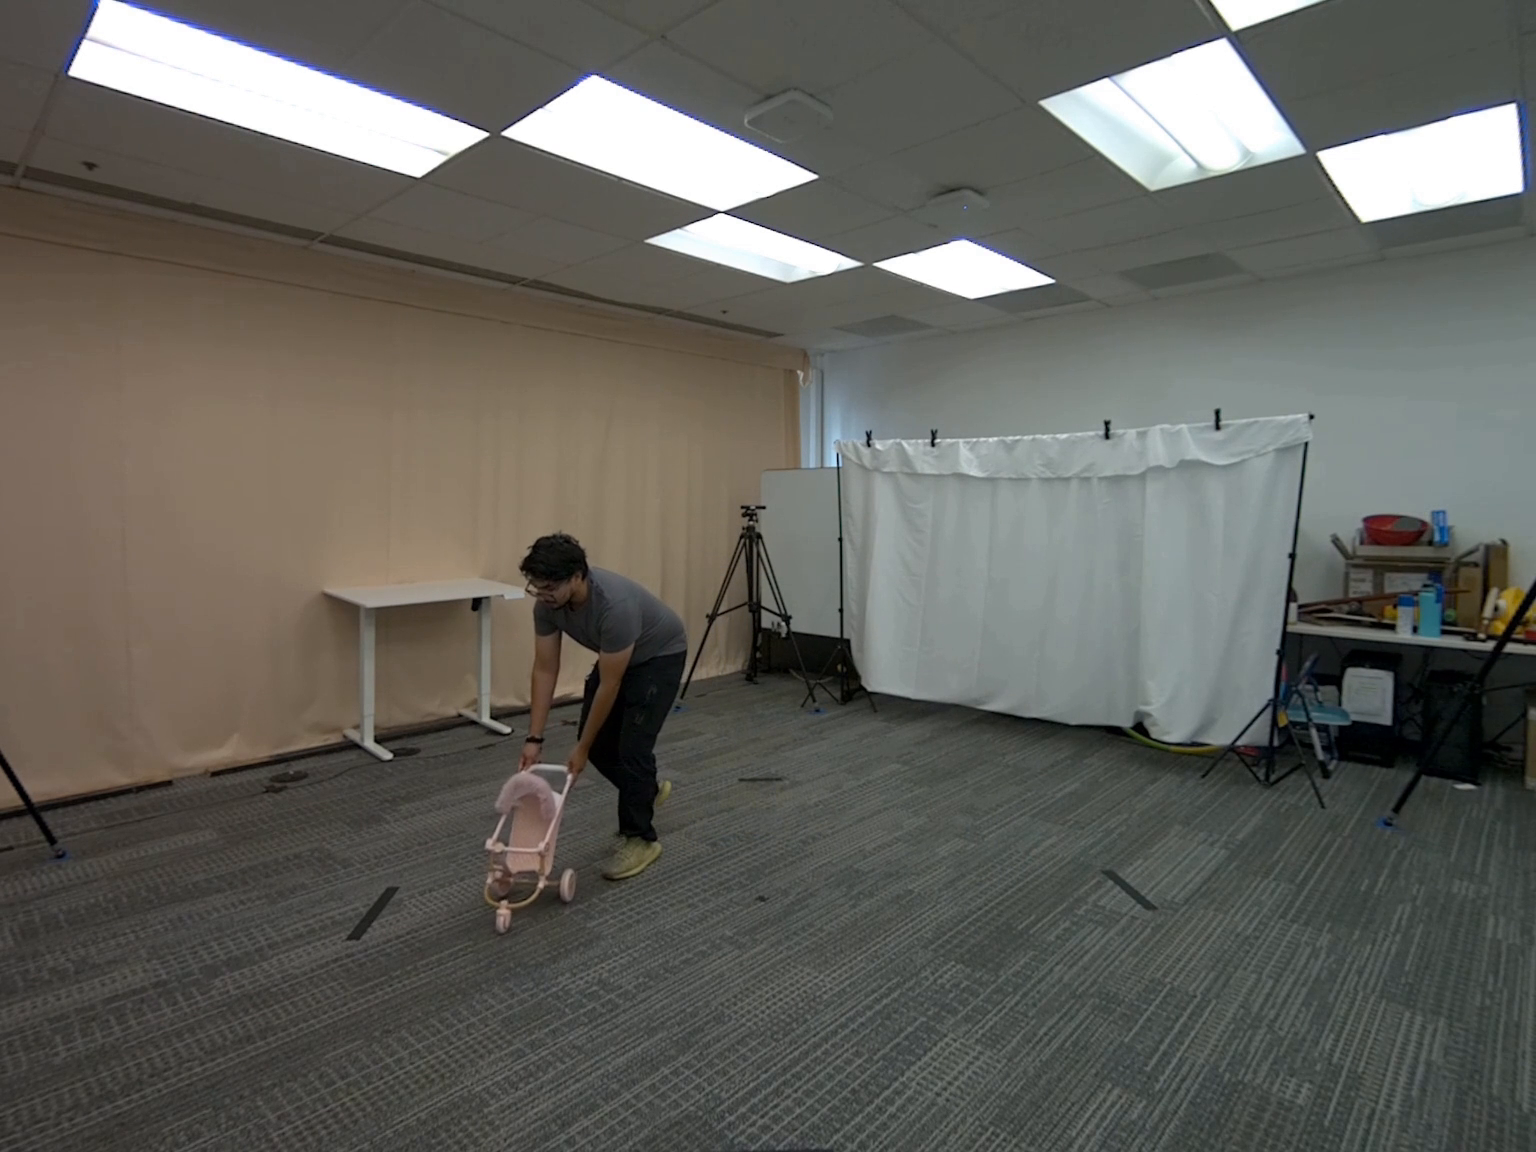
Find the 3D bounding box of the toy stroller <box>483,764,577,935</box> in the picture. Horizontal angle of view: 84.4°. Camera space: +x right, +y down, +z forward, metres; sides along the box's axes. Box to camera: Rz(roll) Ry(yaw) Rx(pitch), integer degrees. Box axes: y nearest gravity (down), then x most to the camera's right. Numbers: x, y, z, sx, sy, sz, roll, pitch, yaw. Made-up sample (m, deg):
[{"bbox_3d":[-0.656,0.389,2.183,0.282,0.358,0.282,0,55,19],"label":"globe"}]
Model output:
[{"bbox_3d":[-0.844,0.929,2.932,0.286,0.539,0.334,0,-13,13],"label":"toy stroller"}]
